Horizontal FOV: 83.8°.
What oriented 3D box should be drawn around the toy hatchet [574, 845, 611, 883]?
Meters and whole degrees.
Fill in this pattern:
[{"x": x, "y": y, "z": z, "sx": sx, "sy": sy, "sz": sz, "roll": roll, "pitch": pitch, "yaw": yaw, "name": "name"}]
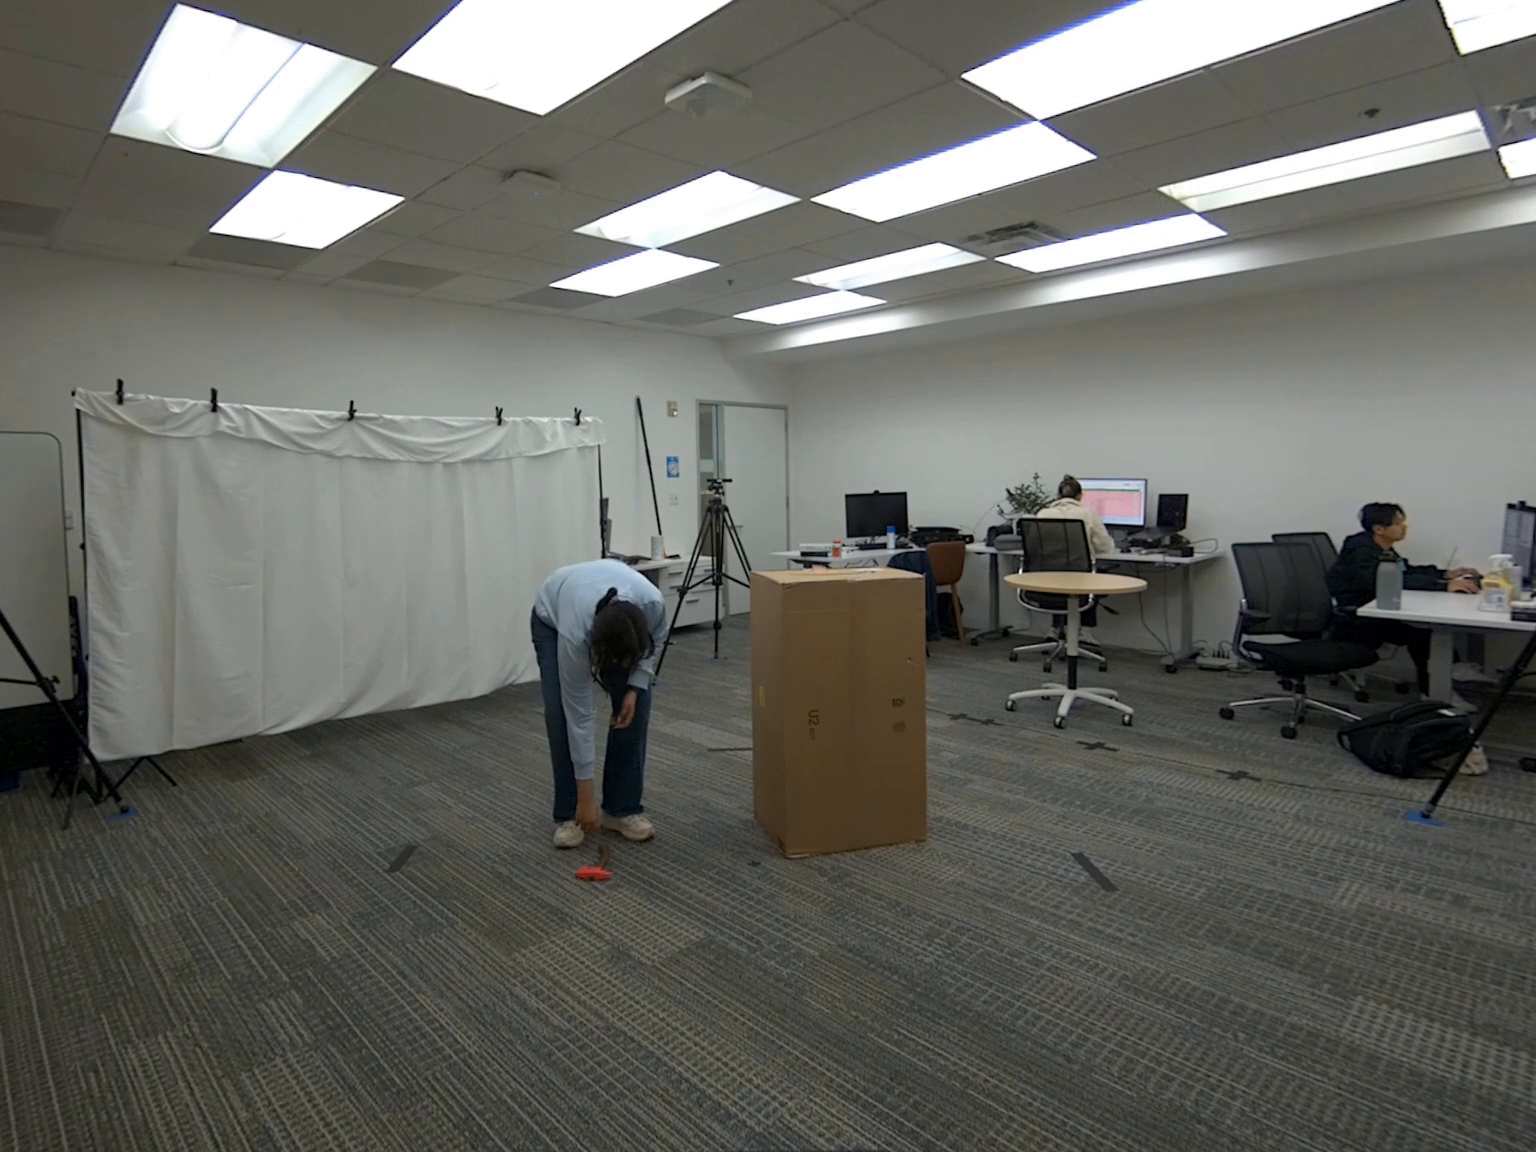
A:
[{"x": -0.643, "y": 1.045, "z": 3.115, "sx": 0.130, "sy": 0.029, "sz": 0.274, "roll": -4, "pitch": 5, "yaw": -13, "name": "toy hatchet"}]
